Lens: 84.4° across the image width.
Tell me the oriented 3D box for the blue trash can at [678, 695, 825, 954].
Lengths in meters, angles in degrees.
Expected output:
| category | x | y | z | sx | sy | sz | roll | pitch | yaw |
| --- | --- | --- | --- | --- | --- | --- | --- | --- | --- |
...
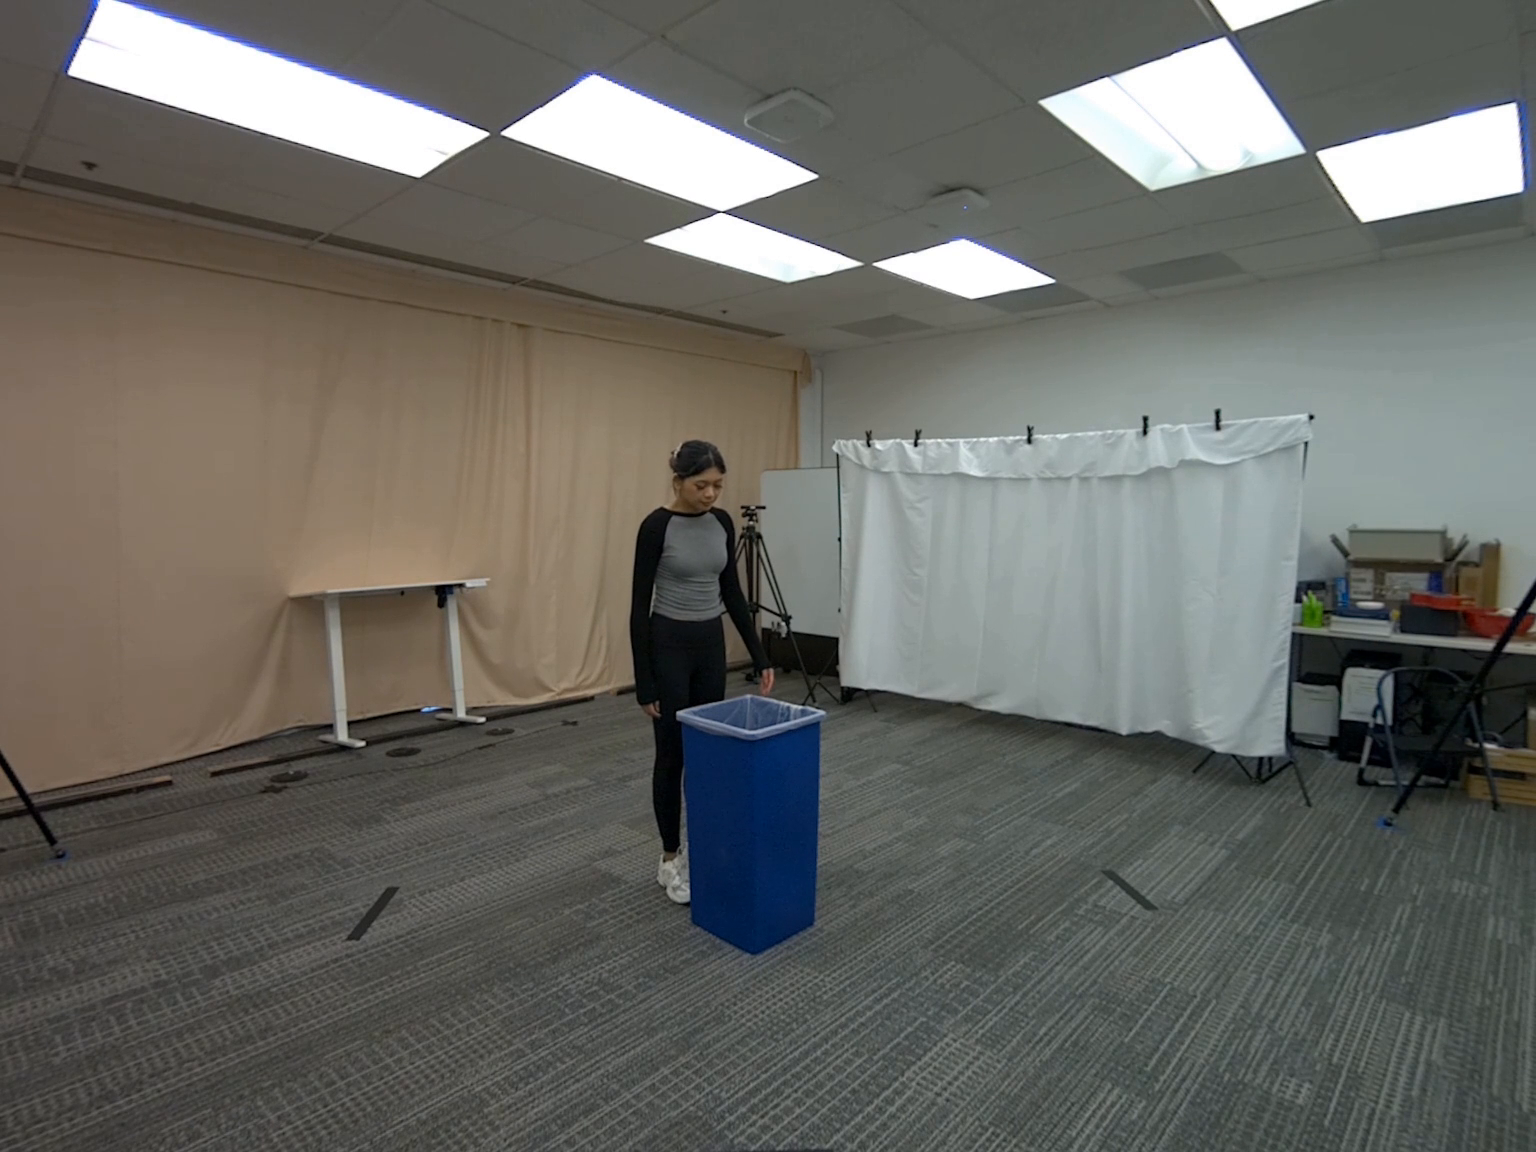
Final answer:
| category | x | y | z | sx | sy | sz | roll | pitch | yaw |
| --- | --- | --- | --- | --- | --- | --- | --- | --- | --- |
| blue trash can | -0.049 | 0.804 | 2.783 | 0.390 | 0.712 | 0.362 | 3 | 4 | 45 |
